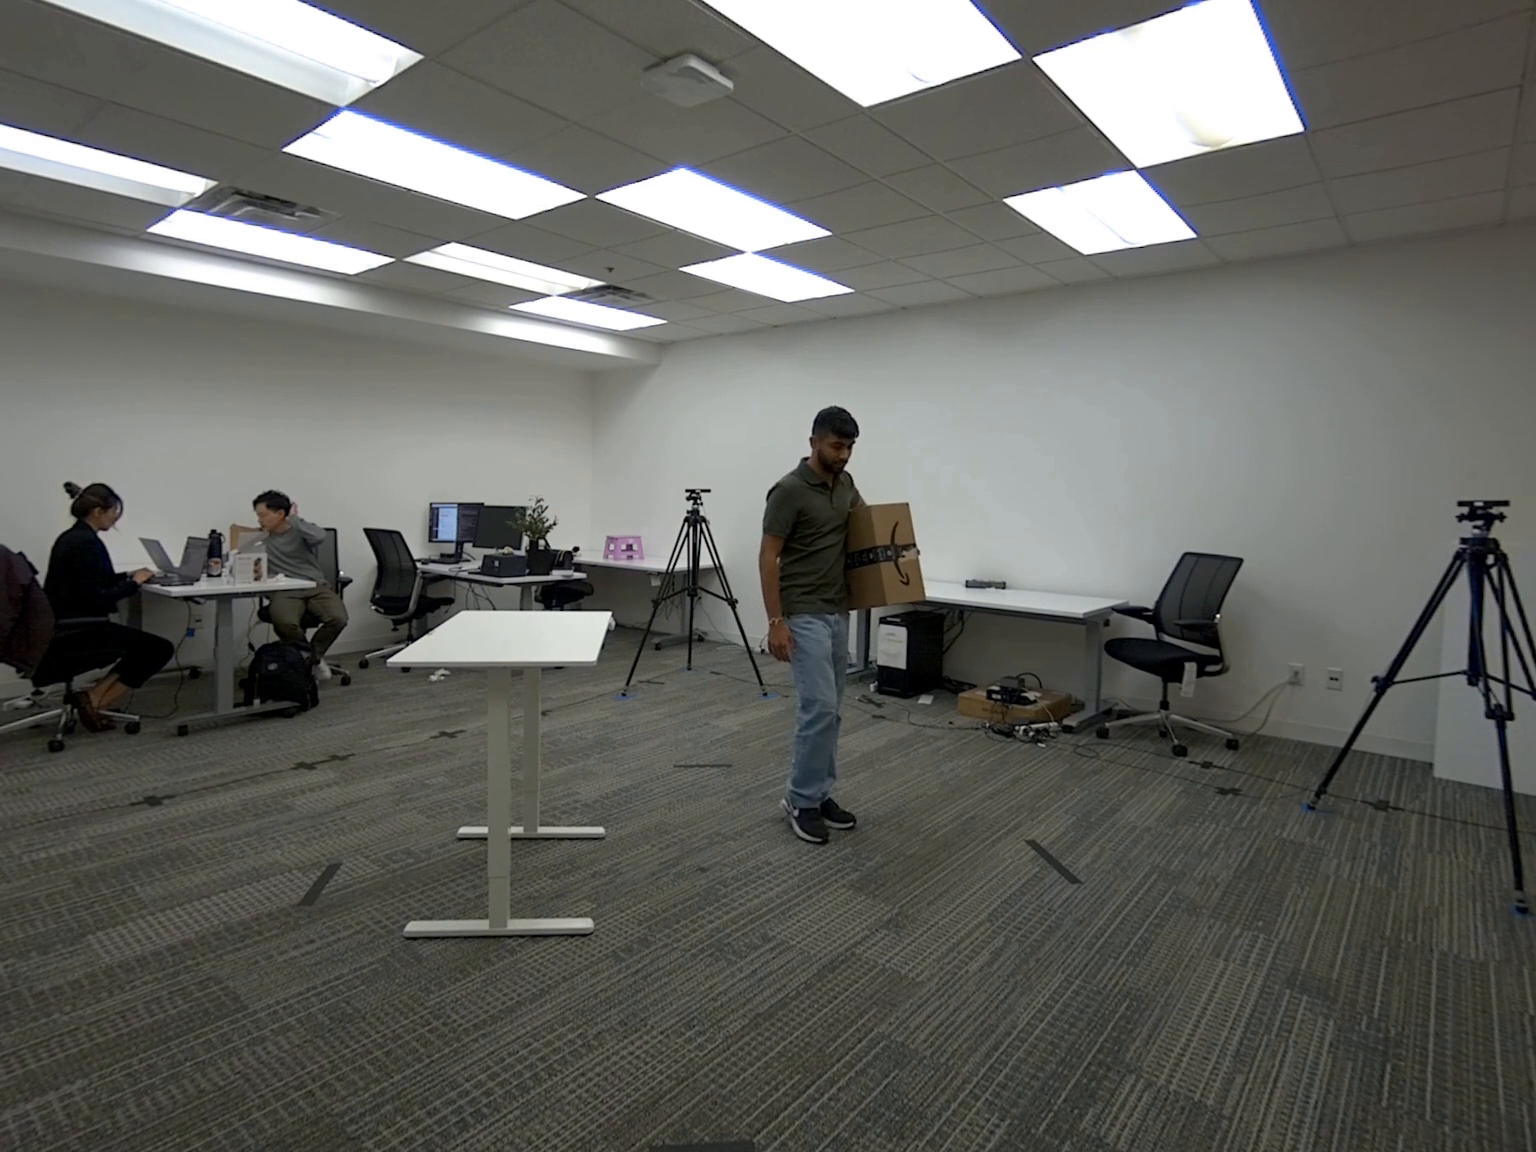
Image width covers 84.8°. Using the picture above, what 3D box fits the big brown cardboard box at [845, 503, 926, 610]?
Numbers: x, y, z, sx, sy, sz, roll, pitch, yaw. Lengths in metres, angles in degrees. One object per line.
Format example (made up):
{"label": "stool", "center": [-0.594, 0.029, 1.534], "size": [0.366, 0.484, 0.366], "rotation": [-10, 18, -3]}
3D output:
{"label": "big brown cardboard box", "center": [0.376, -0.063, 3.725], "size": [0.227, 0.420, 0.600], "rotation": [-5, -4, -30]}
